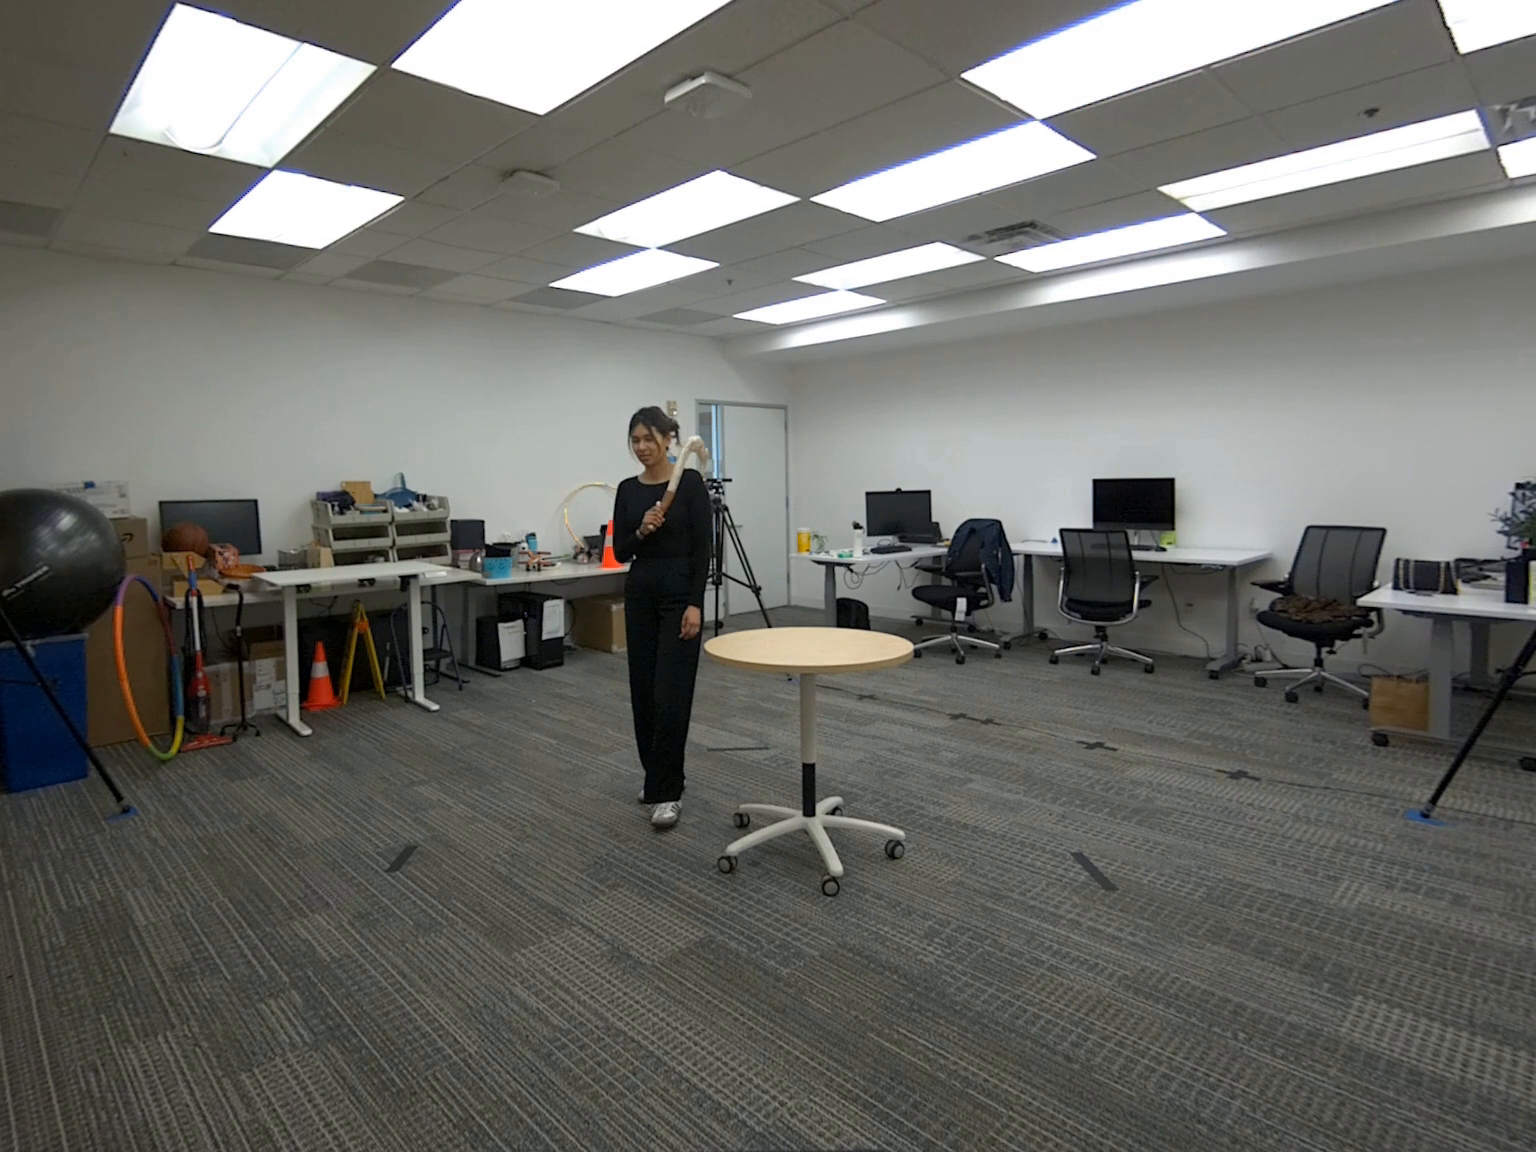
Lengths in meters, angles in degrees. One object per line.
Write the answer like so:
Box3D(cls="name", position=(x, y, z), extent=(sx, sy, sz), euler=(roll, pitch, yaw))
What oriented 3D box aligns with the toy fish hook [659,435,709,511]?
Box3D(cls="toy fish hook", position=(-0.377, -0.369, 3.665), extent=(0.050, 0.511, 0.216), euler=(9, -28, 32))
